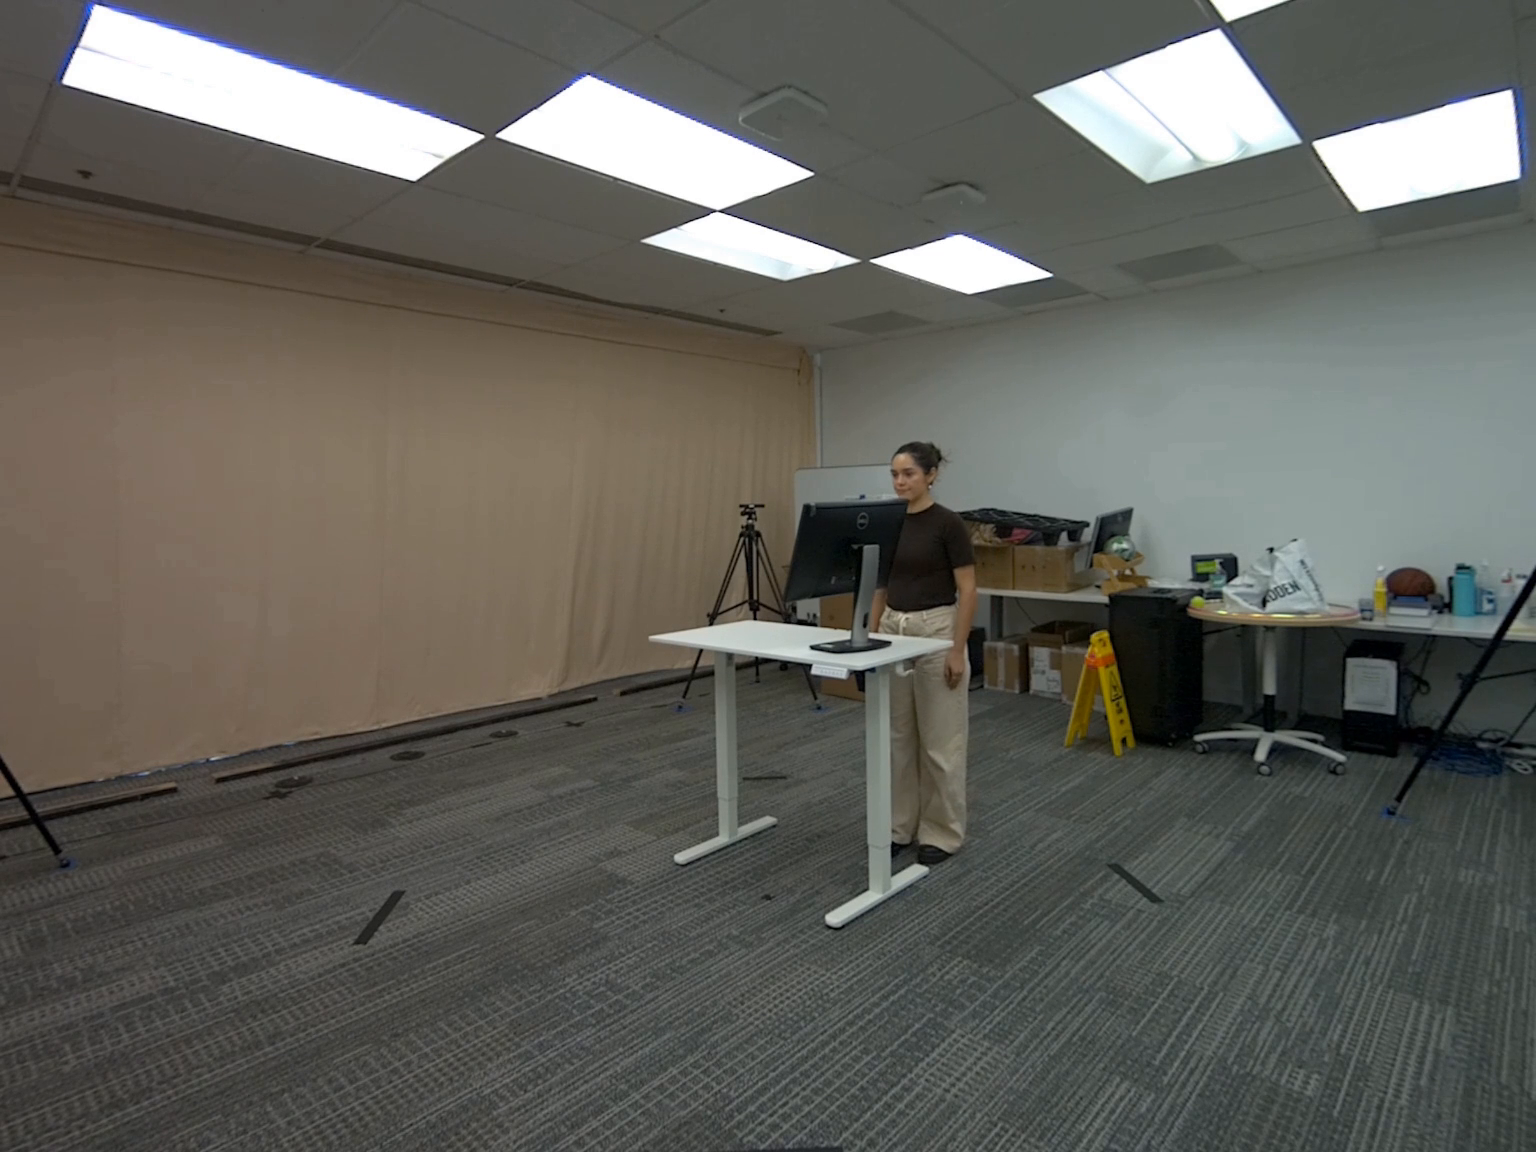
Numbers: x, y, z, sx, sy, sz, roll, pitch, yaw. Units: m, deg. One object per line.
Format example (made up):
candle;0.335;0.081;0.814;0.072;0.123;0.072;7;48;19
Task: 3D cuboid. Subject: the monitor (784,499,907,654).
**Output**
monitor;0.310;-0.002;2.937;0.523;0.520;0.193;-6;9;-43
